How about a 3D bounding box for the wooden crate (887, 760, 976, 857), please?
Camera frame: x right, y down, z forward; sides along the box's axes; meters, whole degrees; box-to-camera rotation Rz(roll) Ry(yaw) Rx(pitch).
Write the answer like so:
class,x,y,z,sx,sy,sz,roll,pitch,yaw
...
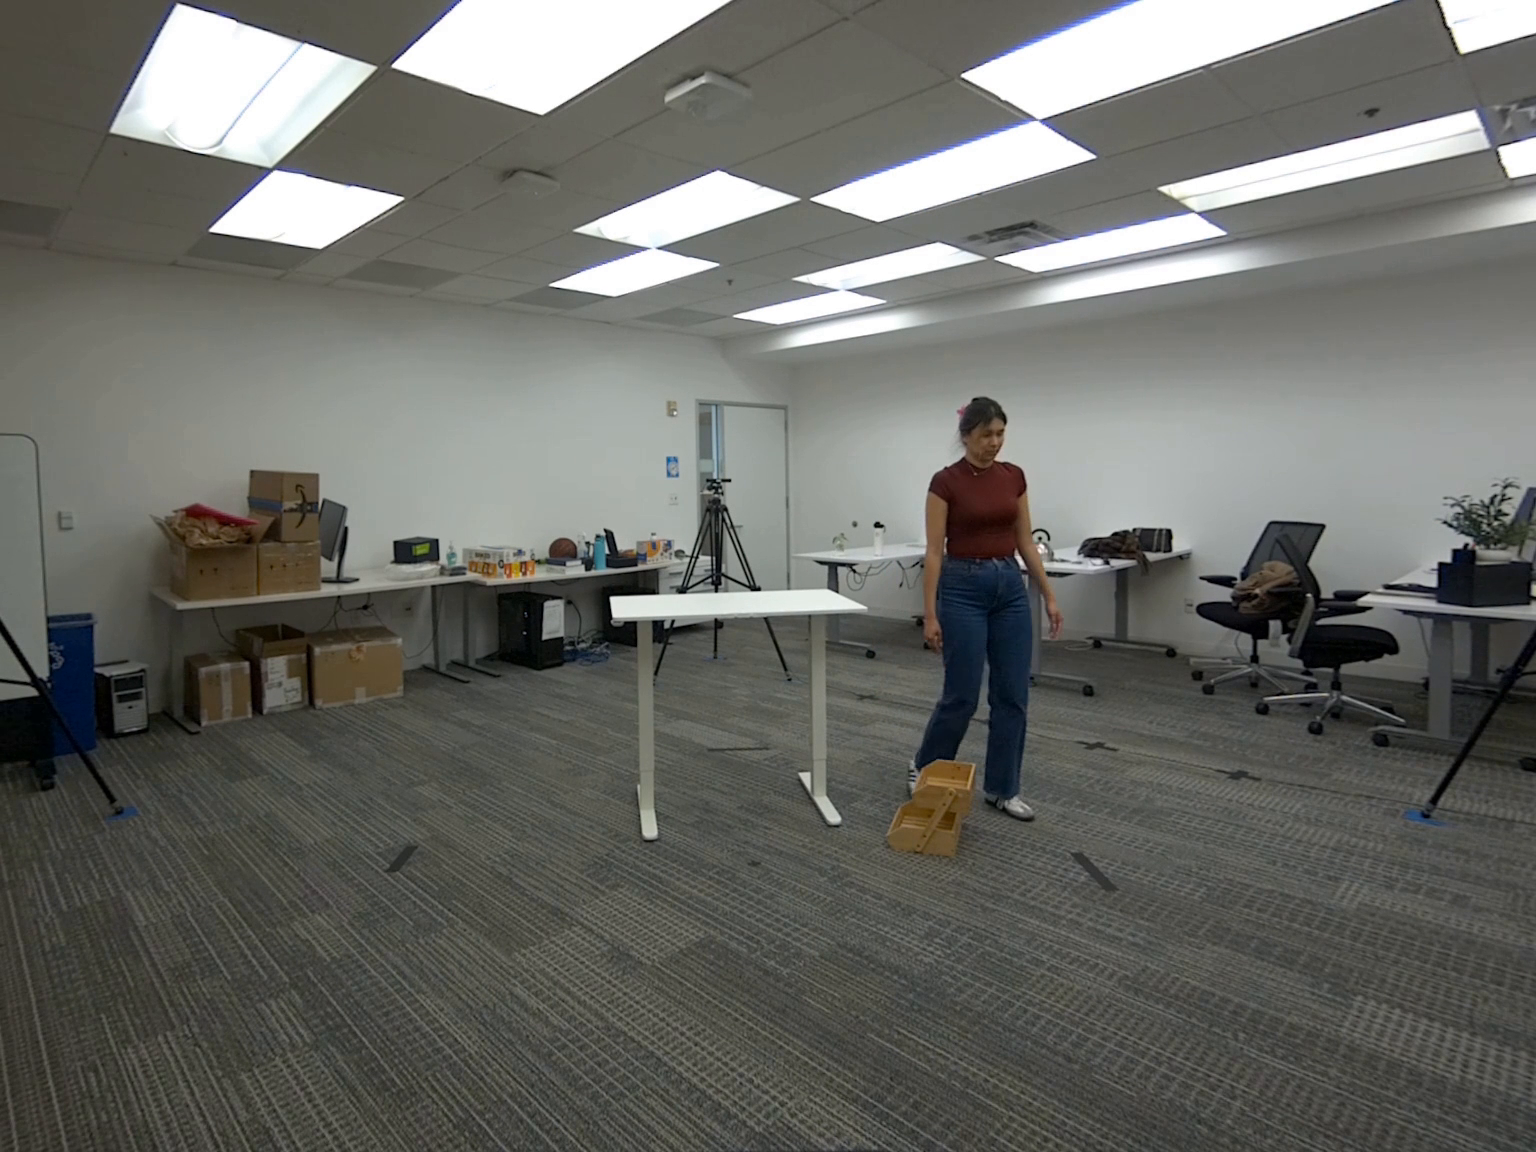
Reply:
class,x,y,z,sx,sy,sz,roll,pitch,yaw
wooden crate,0.632,0.879,3.293,0.308,0.272,0.319,2,5,19
